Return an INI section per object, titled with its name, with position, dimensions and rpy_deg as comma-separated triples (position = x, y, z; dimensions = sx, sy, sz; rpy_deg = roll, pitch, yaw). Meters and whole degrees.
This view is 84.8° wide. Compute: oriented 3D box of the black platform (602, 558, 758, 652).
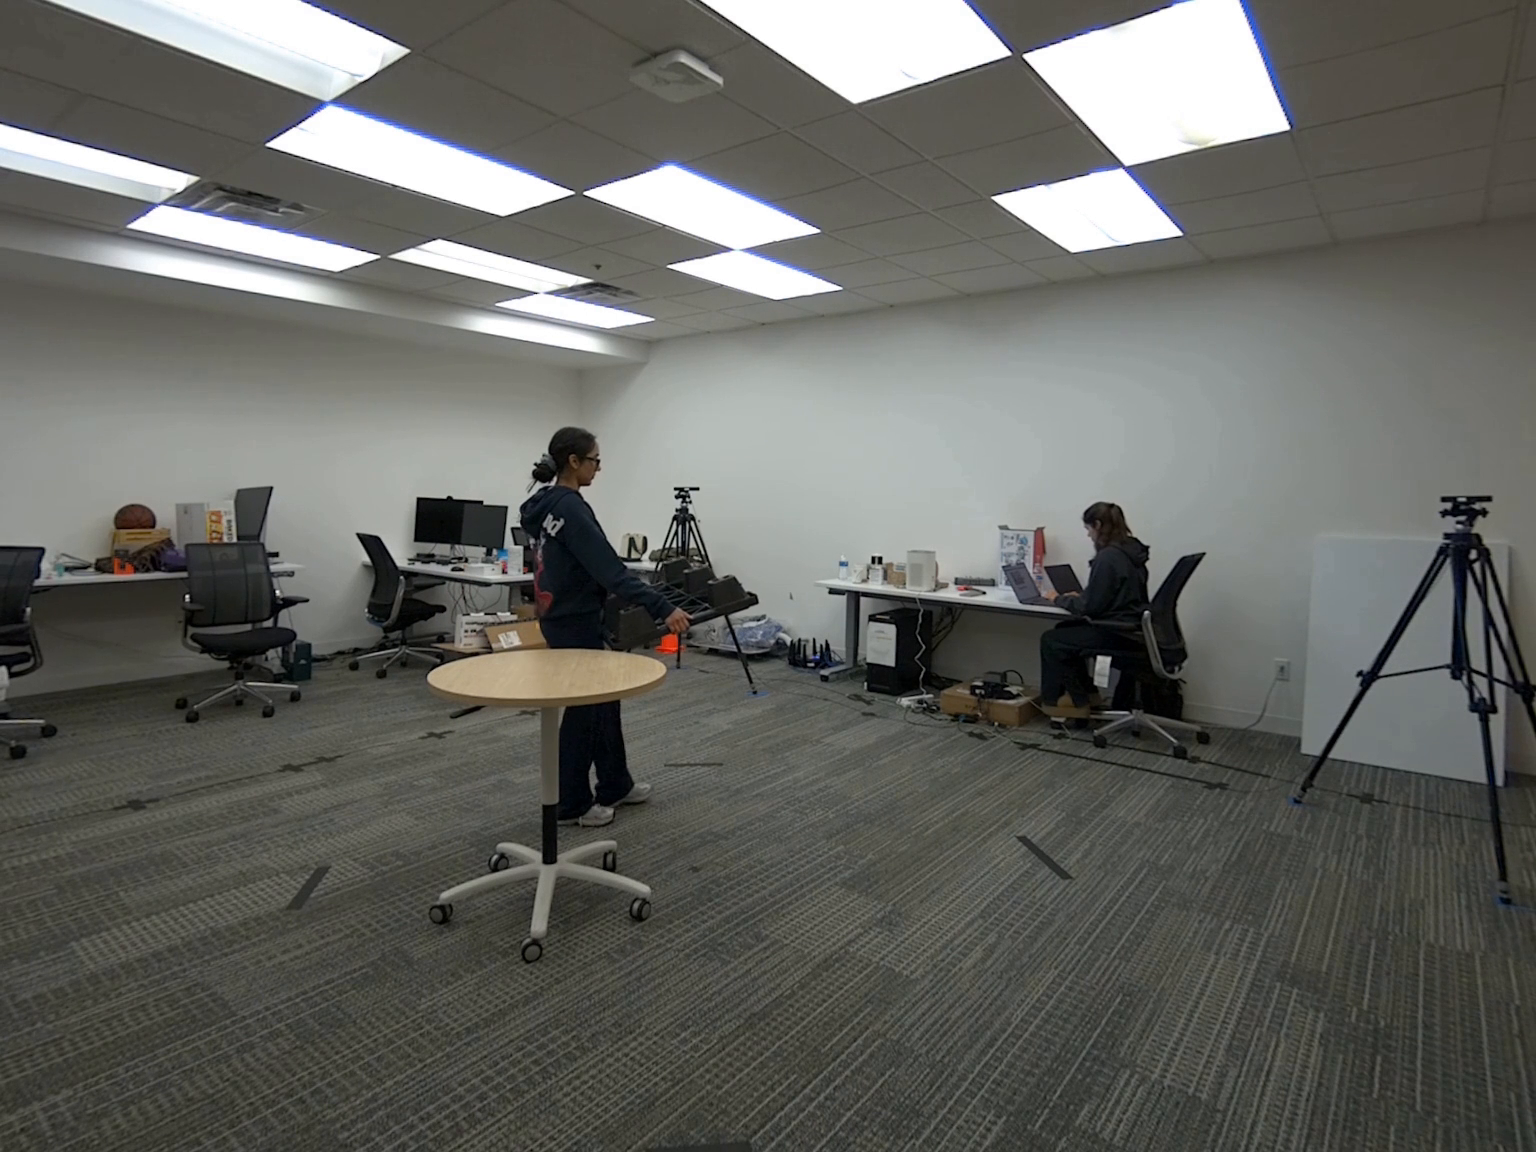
[black platform]
position = -0.457, 0.083, 3.600
dimensions = 0.598, 0.141, 0.827
rpy_deg = -20, 14, -17
